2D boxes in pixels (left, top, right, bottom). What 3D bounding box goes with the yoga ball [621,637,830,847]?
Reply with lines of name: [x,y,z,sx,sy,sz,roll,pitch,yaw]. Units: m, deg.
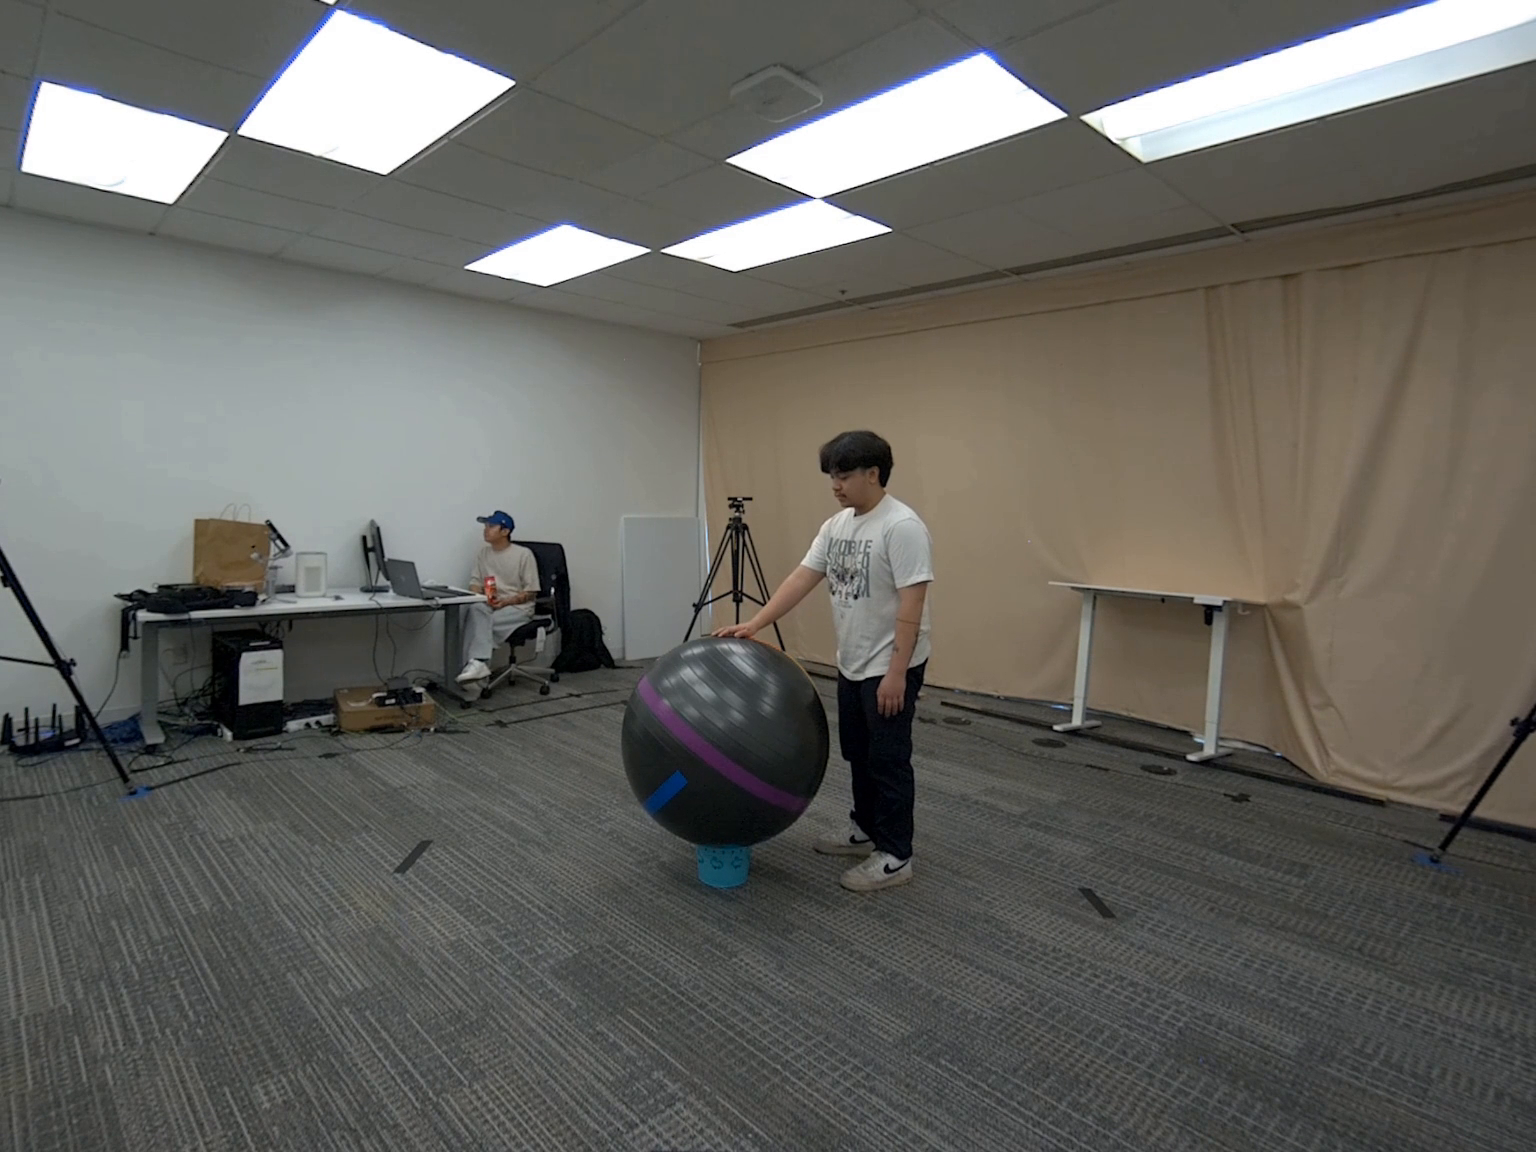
yoga ball: [-0.163,0.600,3.089,0.757,0.756,0.761,1,4,-1]
